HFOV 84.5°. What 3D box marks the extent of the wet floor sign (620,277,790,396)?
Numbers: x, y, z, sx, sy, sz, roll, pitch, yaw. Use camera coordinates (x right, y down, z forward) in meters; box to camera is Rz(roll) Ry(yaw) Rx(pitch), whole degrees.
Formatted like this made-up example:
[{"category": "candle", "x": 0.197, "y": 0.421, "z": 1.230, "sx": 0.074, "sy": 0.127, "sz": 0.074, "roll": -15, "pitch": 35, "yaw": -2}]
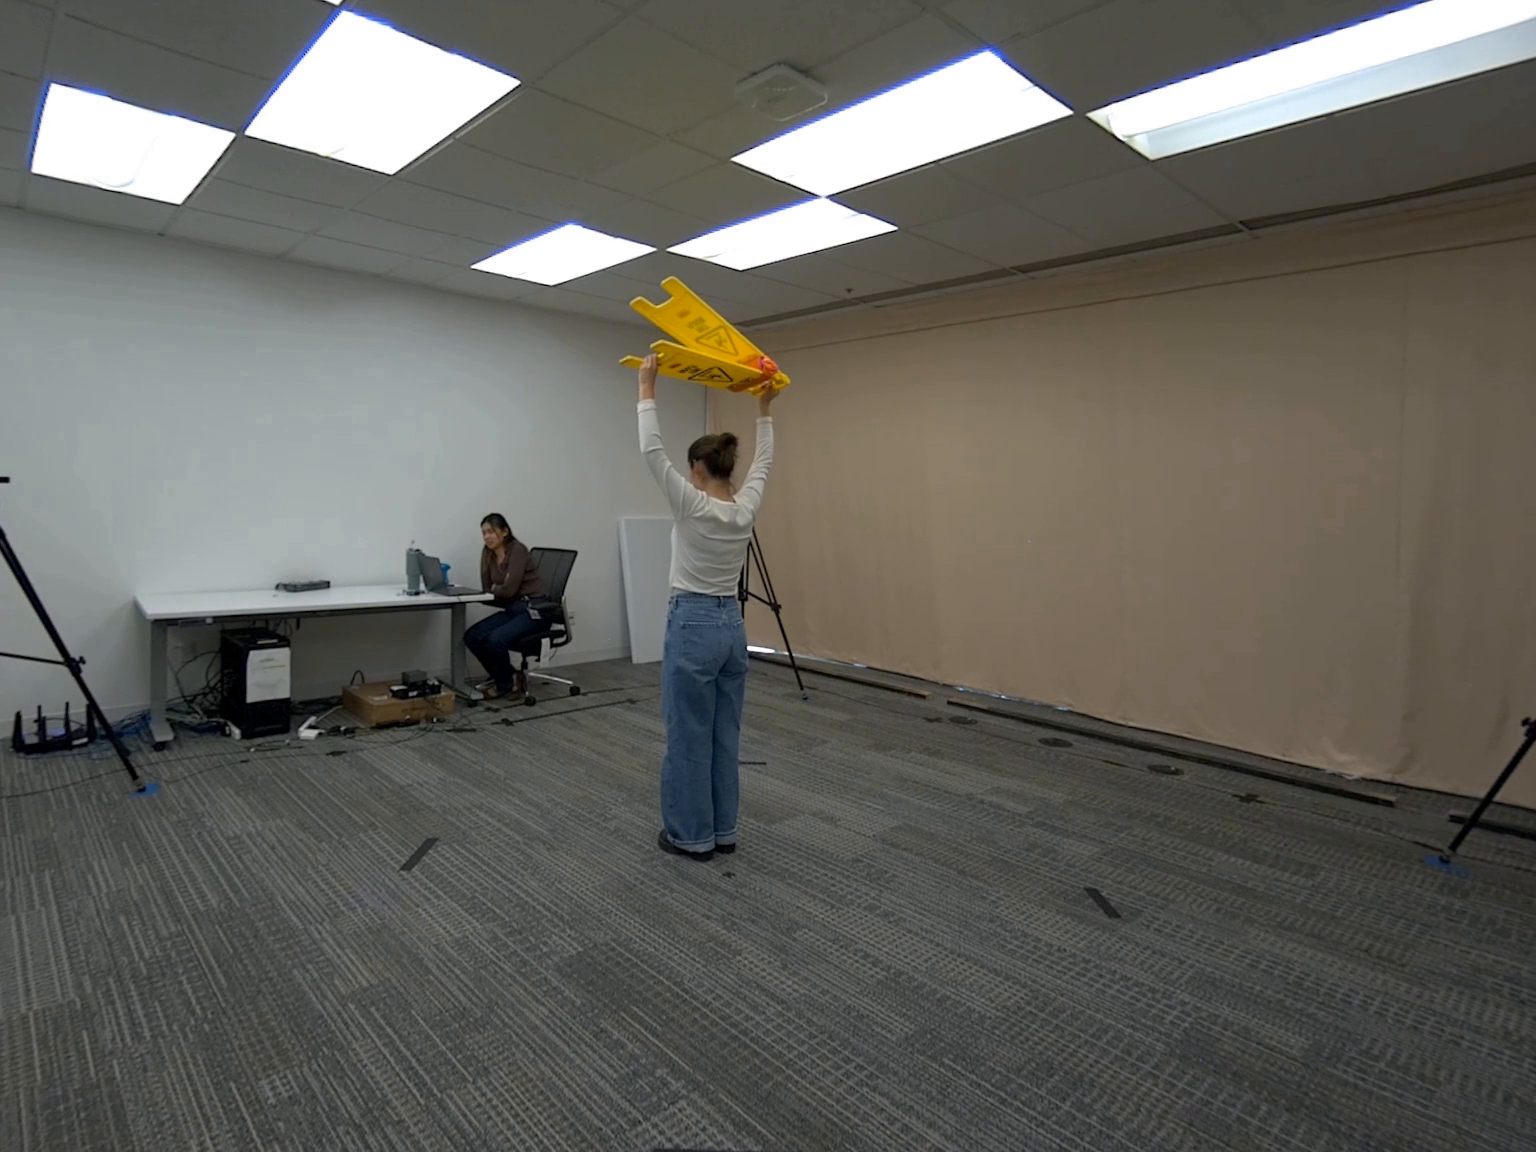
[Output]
[{"category": "wet floor sign", "x": -0.216, "y": -0.842, "z": 3.241, "sx": 0.627, "sy": 0.292, "sz": 0.288, "roll": 18, "pitch": -18, "yaw": -40}]
